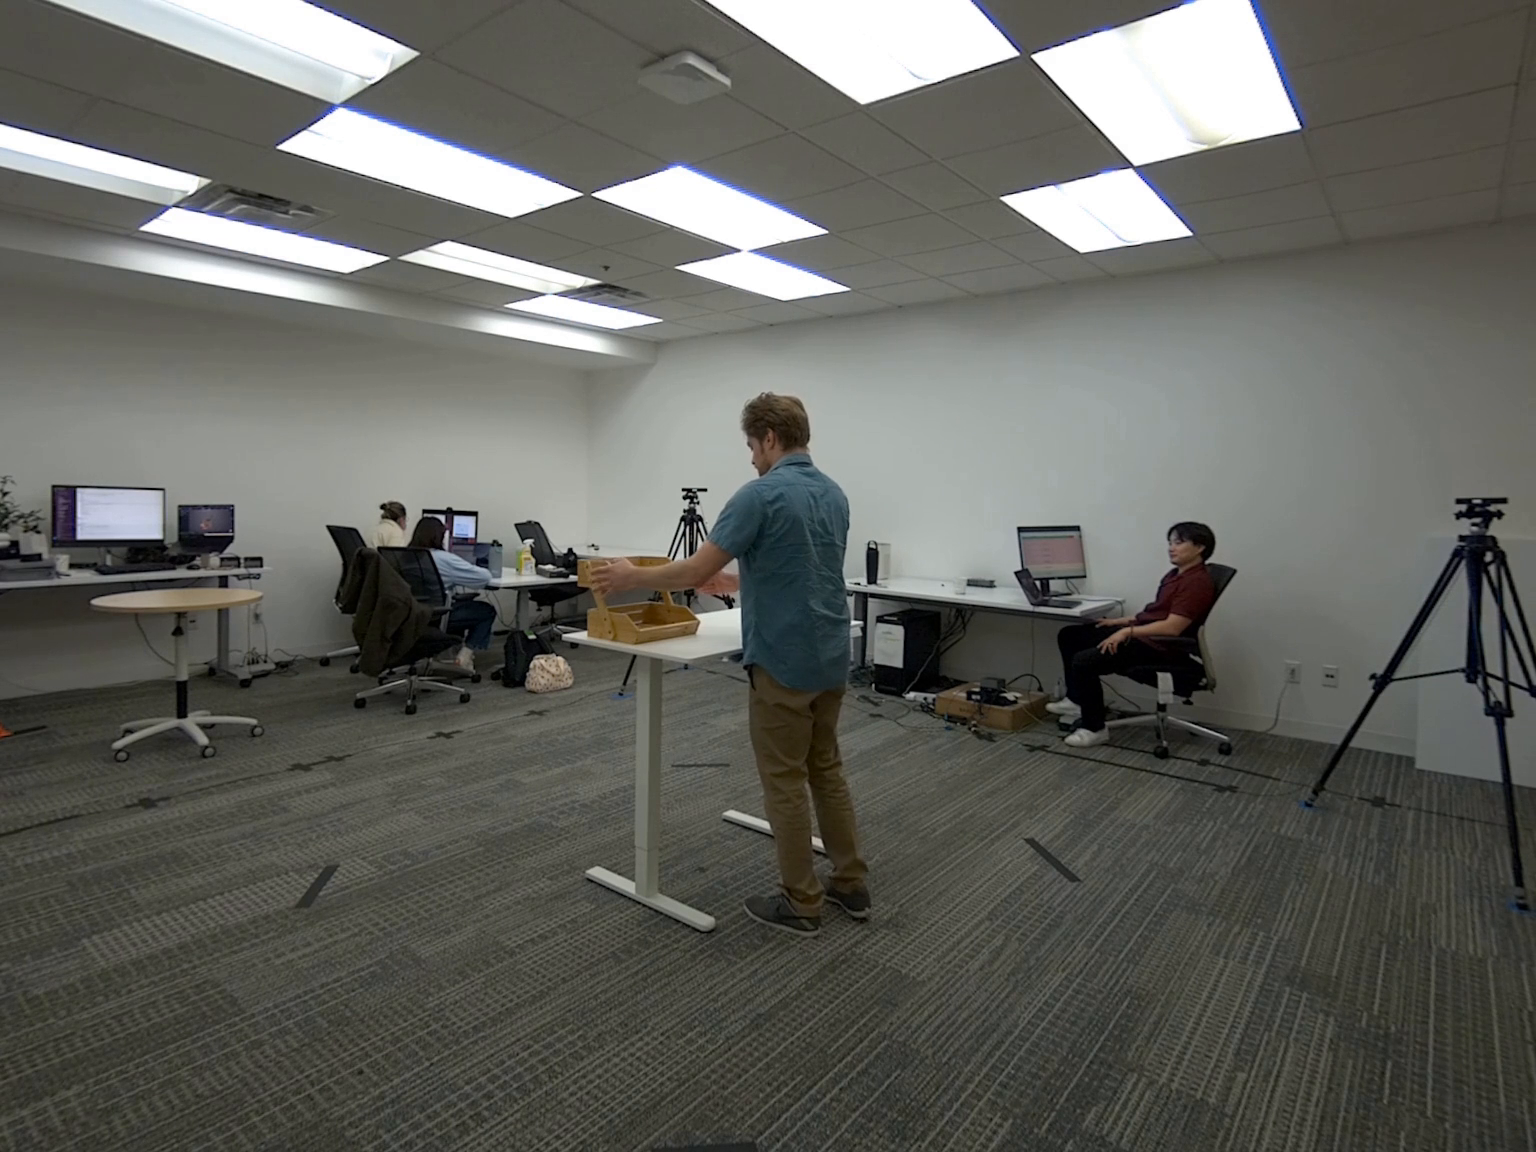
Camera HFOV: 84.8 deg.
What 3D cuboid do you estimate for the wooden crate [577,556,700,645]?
[{"bbox_3d":[-0.456,0.068,2.944,0.312,0.272,0.315,3,5,39],"label":"wooden crate"}]
